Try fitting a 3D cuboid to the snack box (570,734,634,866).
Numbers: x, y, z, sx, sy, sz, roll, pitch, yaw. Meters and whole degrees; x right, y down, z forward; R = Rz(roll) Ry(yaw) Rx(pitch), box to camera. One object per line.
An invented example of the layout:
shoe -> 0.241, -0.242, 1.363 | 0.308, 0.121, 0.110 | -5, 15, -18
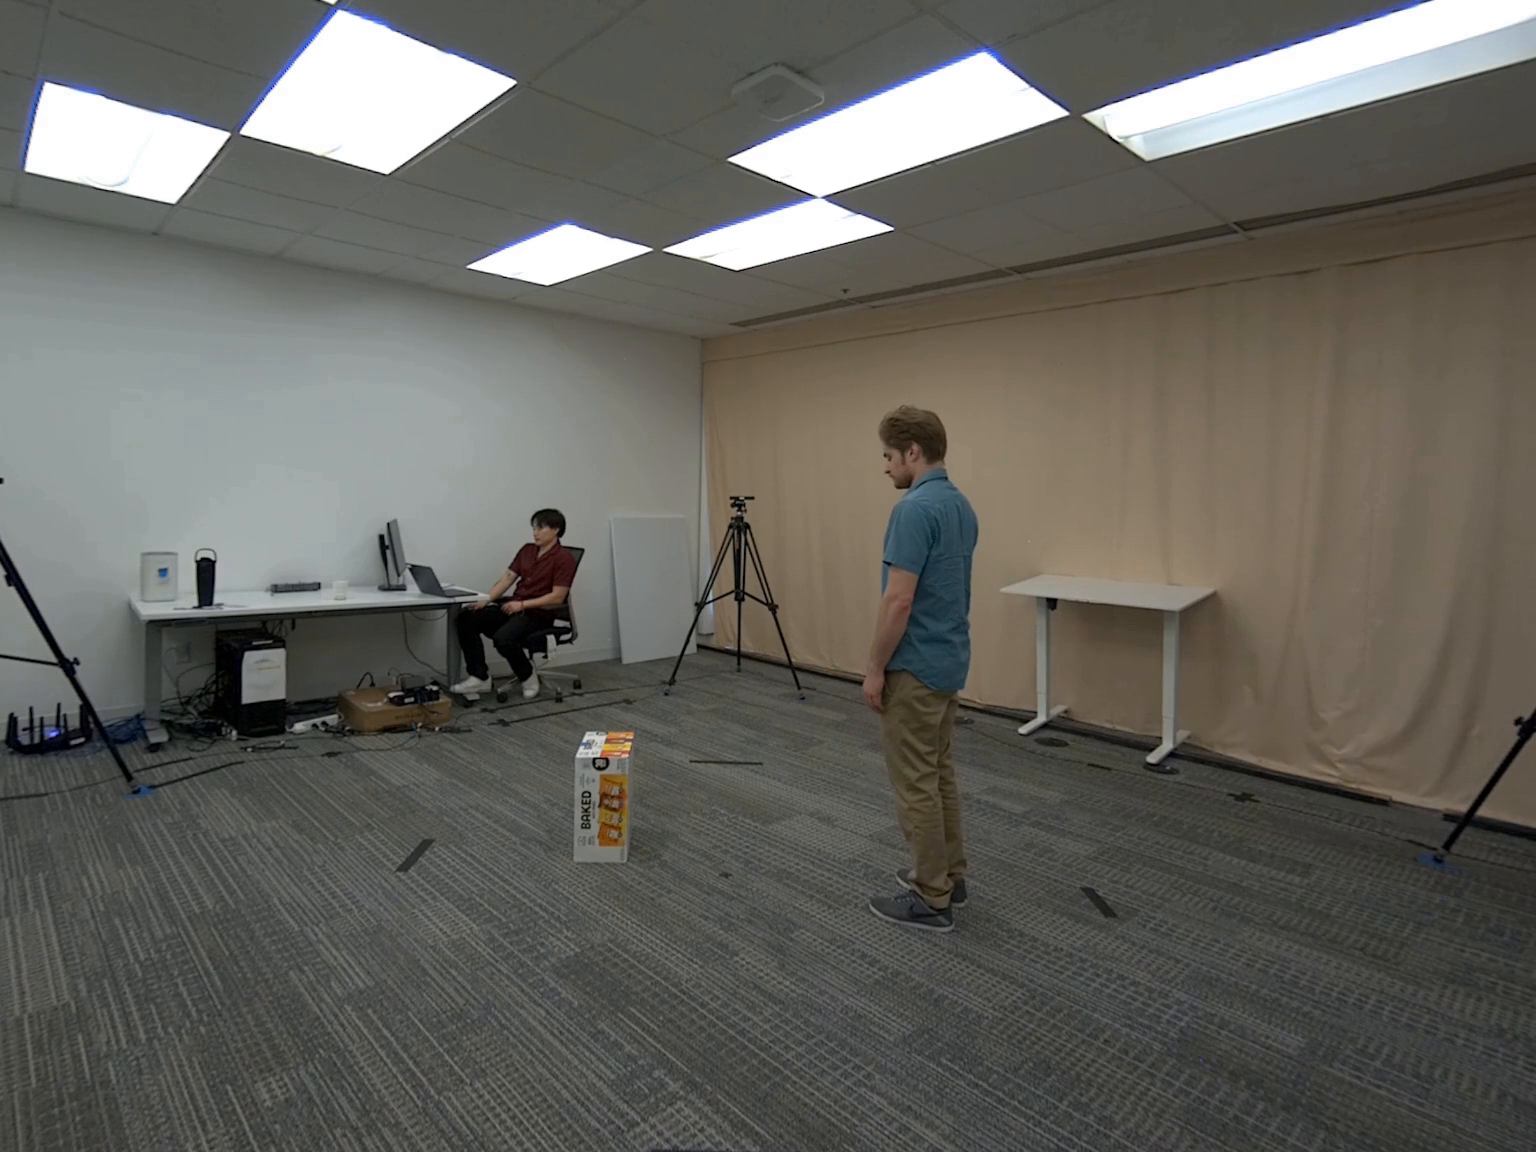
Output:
snack box -> -0.651, 0.871, 3.345 | 0.205, 0.404, 0.342 | 1, 4, -3
